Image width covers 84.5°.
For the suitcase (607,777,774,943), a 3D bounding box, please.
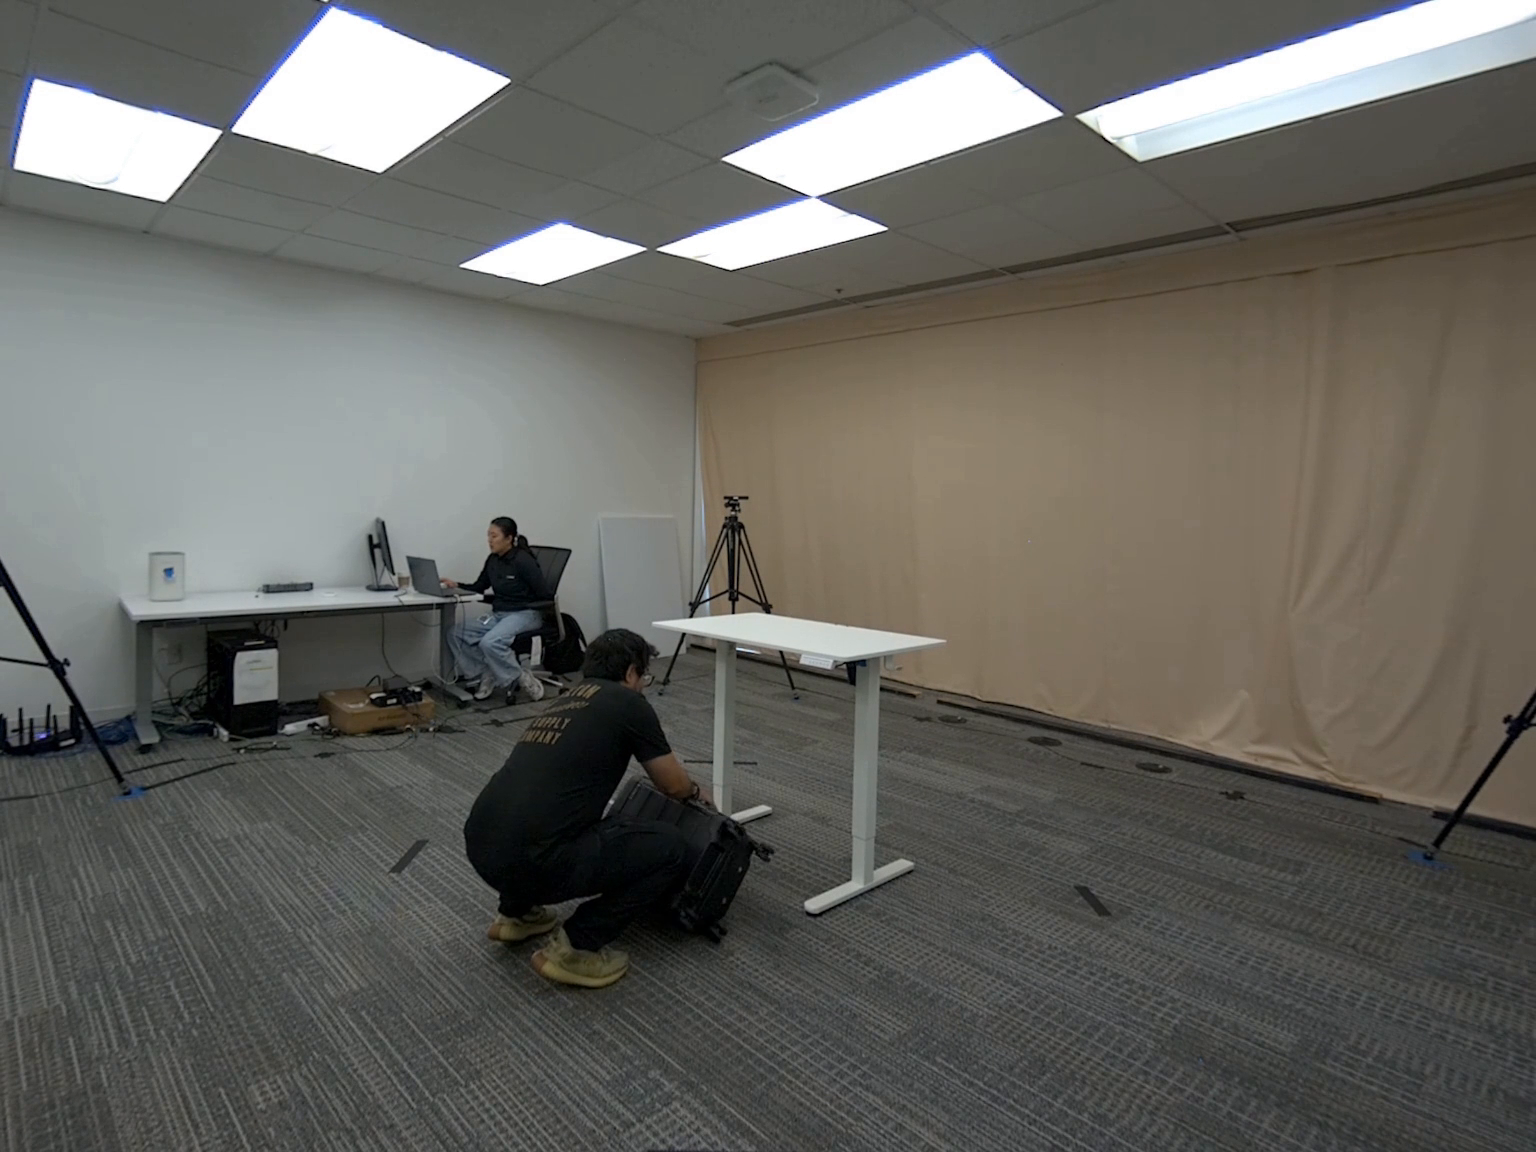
[{"bbox_3d":[-0.470,0.890,2.949,1.005,0.386,0.249,10,-28,42],"label":"suitcase"}]
